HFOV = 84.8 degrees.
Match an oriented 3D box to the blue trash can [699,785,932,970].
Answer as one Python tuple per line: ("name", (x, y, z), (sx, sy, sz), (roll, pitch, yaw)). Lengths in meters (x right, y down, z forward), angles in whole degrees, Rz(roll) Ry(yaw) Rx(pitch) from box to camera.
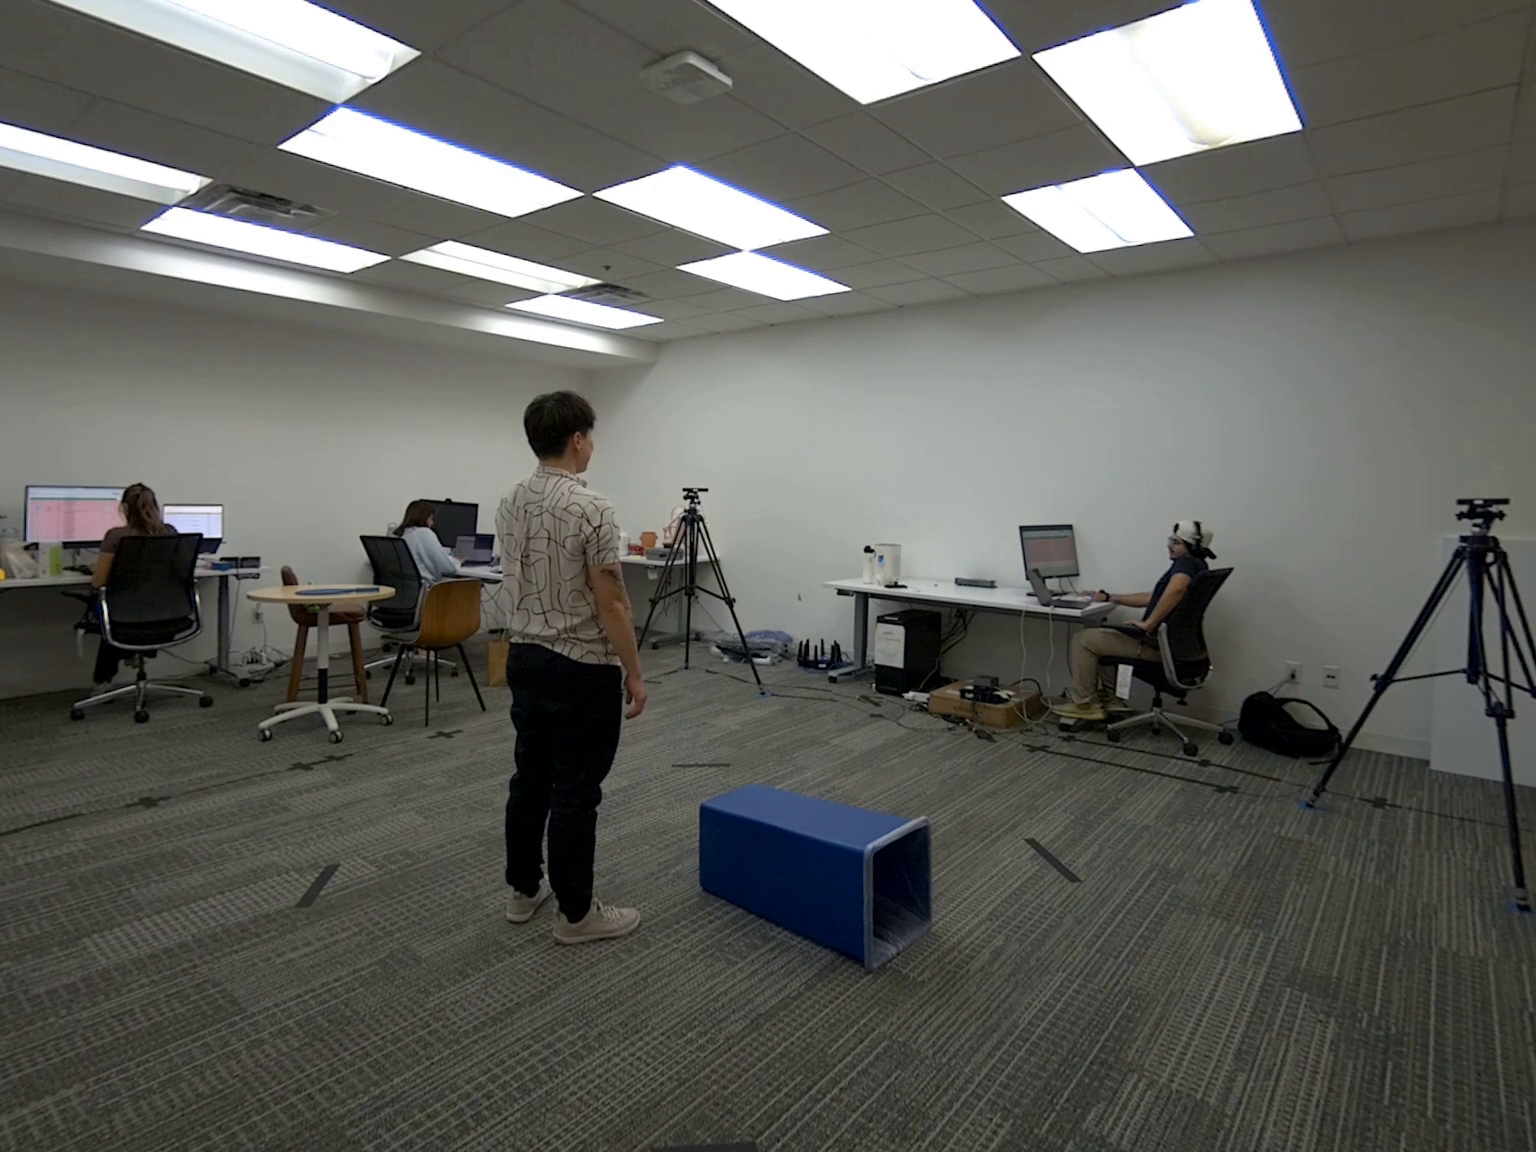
("blue trash can", (0.127, 0.935, 2.819), (0.737, 0.377, 0.363), (4, 5, 42))
